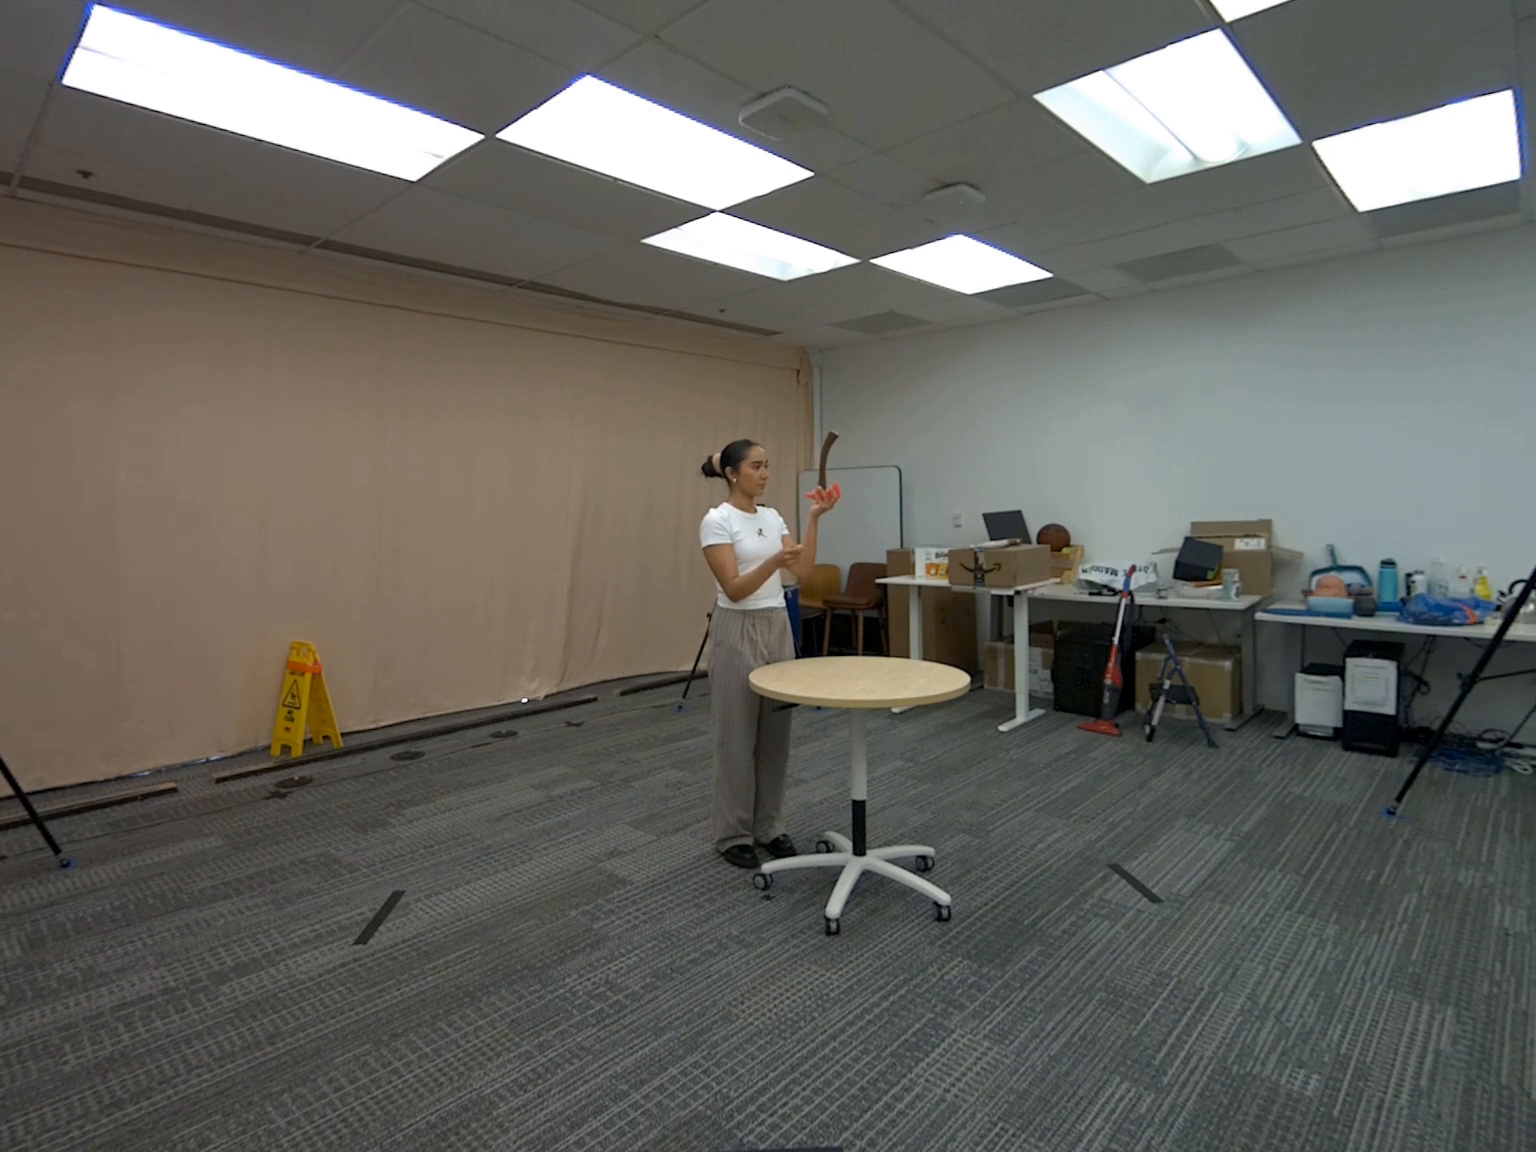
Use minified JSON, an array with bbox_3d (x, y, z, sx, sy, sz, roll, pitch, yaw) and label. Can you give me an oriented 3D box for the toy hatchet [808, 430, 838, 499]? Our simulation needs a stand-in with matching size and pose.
[{"bbox_3d":[0.244,-0.392,3.132,0.133,0.269,0.029,25,17,13],"label":"toy hatchet"}]
